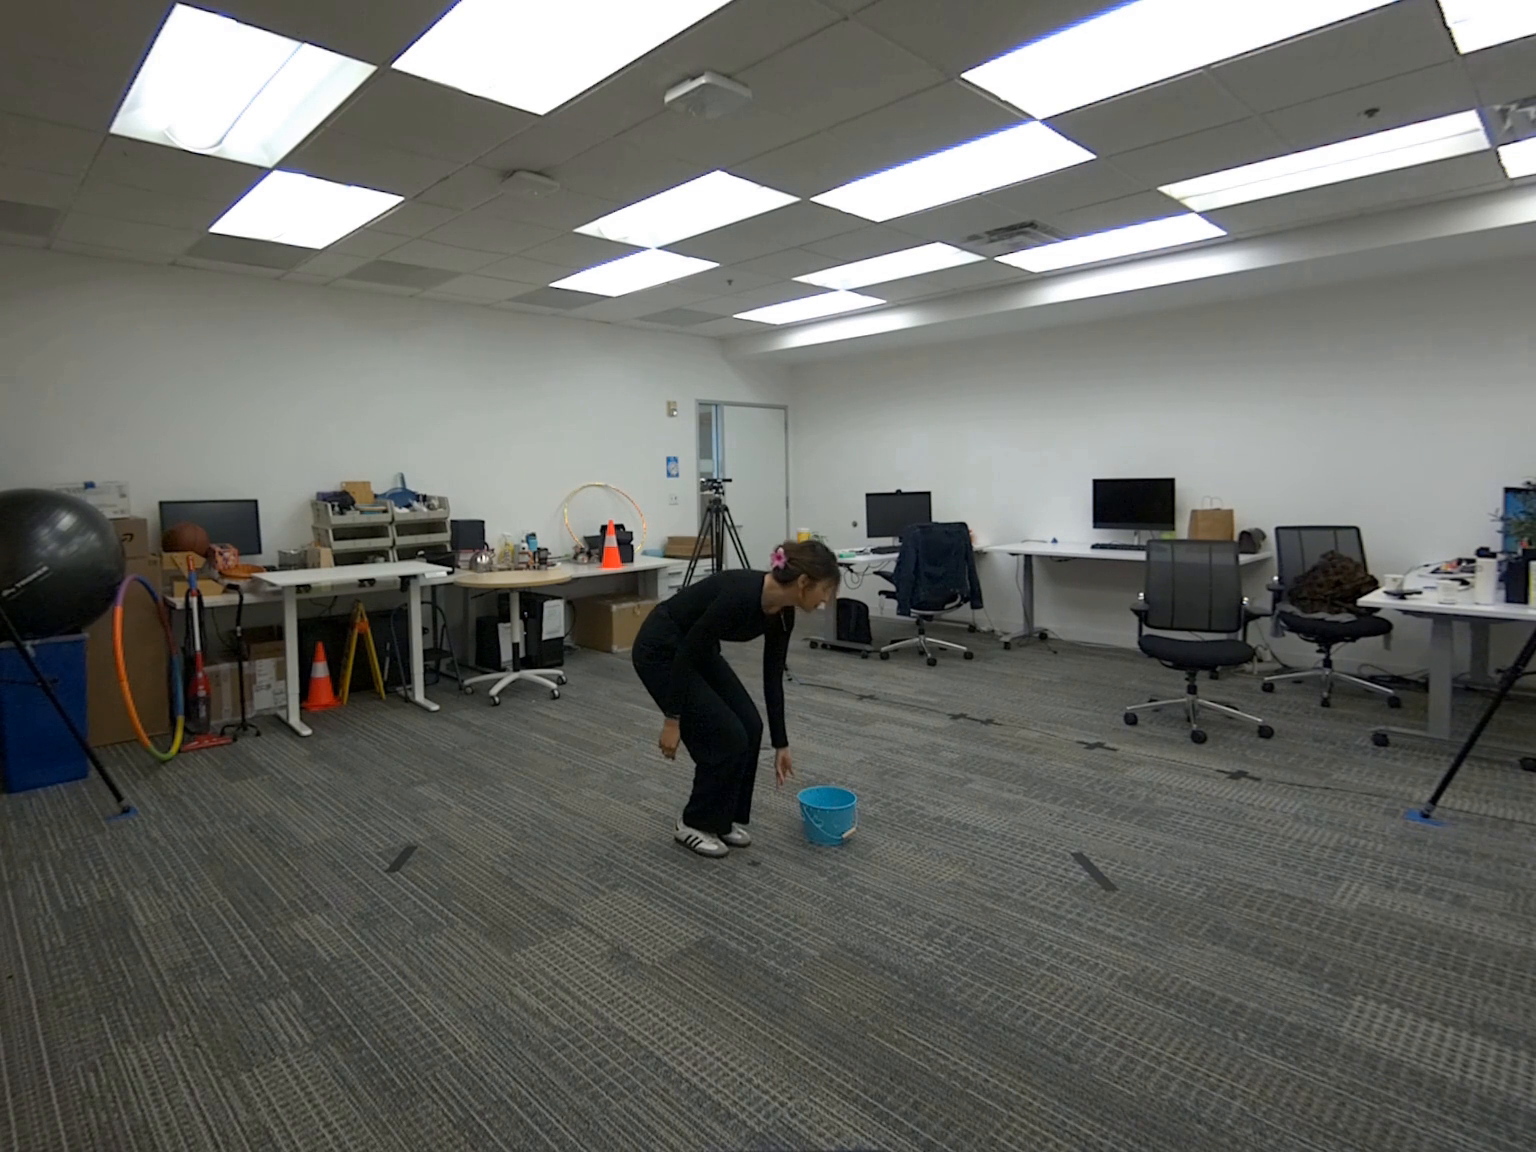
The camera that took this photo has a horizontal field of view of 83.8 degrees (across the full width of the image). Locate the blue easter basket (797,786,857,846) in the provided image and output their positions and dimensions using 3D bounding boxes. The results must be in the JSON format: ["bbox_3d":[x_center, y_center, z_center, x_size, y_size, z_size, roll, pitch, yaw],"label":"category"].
[{"bbox_3d":[0.227,0.928,3.332,0.243,0.155,0.245,-2,6,-1],"label":"blue easter basket"}]
